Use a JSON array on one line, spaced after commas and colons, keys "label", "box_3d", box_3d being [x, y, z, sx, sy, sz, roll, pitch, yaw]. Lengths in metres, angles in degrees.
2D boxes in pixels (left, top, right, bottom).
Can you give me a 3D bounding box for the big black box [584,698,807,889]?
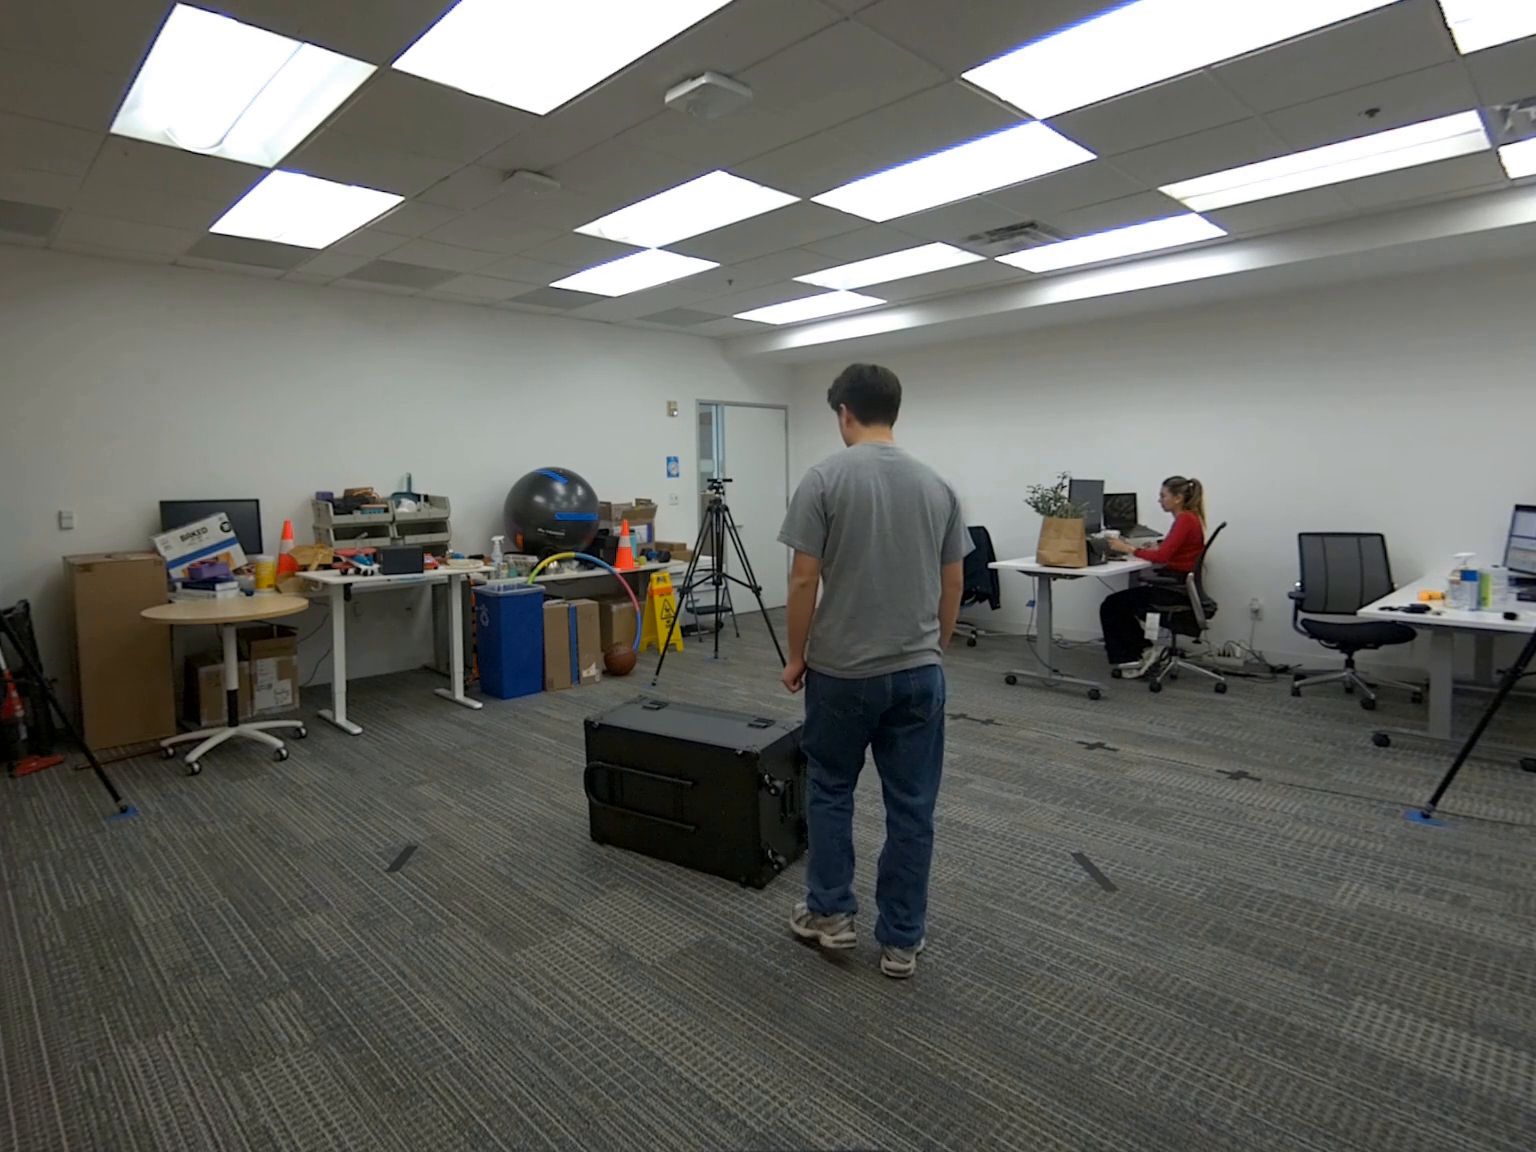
[{"label": "big black box", "box_3d": [-0.256, 0.779, 3.210, 0.885, 0.518, 0.388, 2, 8, 32]}]
